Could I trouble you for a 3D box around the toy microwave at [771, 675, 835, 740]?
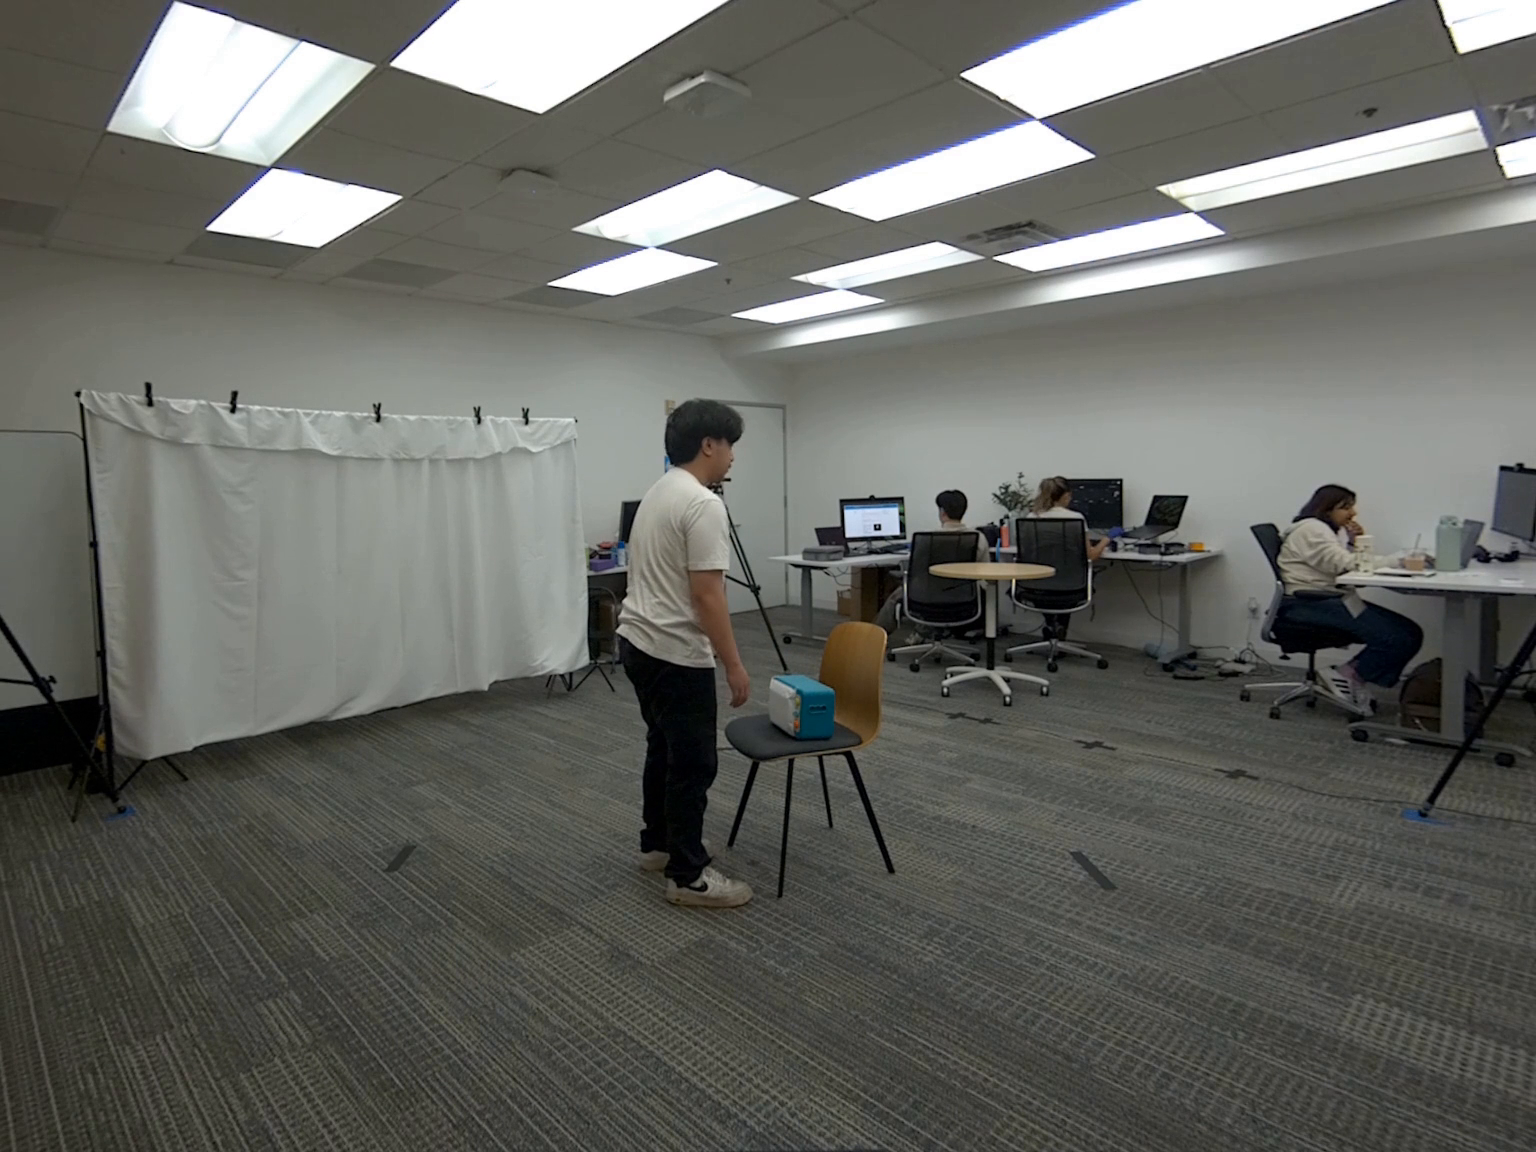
[{"bbox_3d":[0.113,0.465,3.071,0.149,0.183,0.293,1,4,-22],"label":"toy microwave"}]
